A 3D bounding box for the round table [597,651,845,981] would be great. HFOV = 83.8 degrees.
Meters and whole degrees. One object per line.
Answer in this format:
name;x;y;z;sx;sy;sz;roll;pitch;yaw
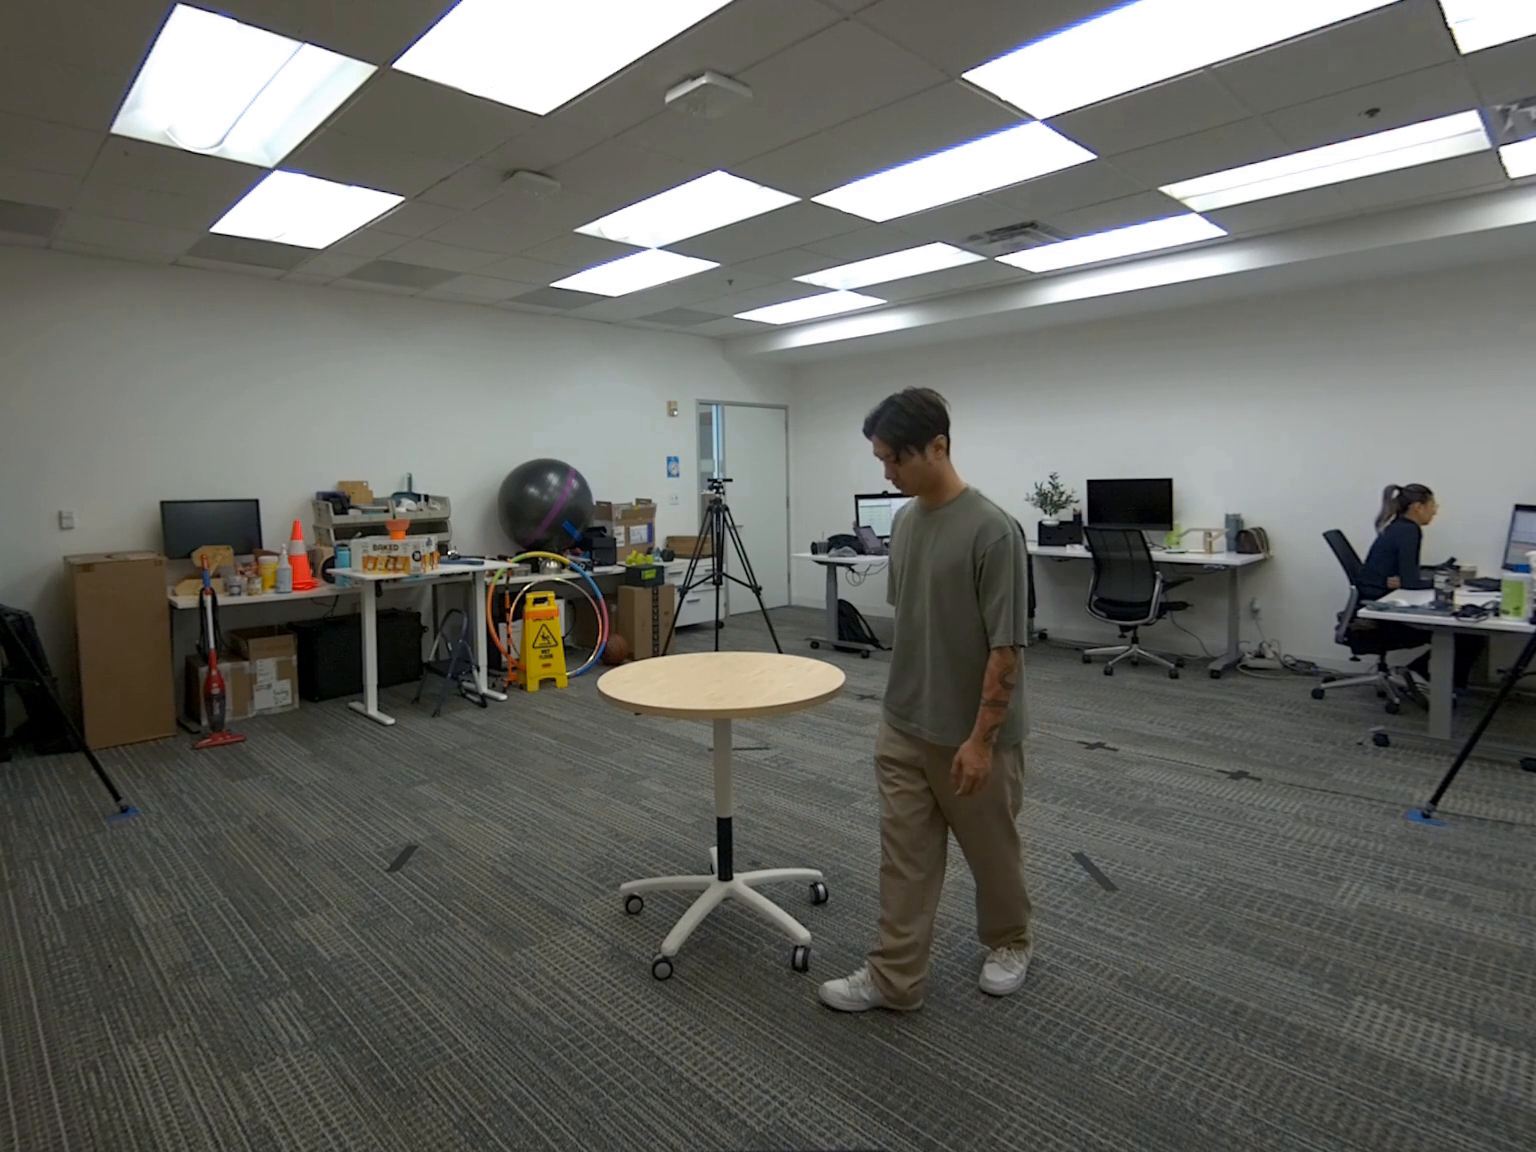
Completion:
round table;-0.144;0.700;2.687;0.784;0.784;0.789;-1;5;-2
